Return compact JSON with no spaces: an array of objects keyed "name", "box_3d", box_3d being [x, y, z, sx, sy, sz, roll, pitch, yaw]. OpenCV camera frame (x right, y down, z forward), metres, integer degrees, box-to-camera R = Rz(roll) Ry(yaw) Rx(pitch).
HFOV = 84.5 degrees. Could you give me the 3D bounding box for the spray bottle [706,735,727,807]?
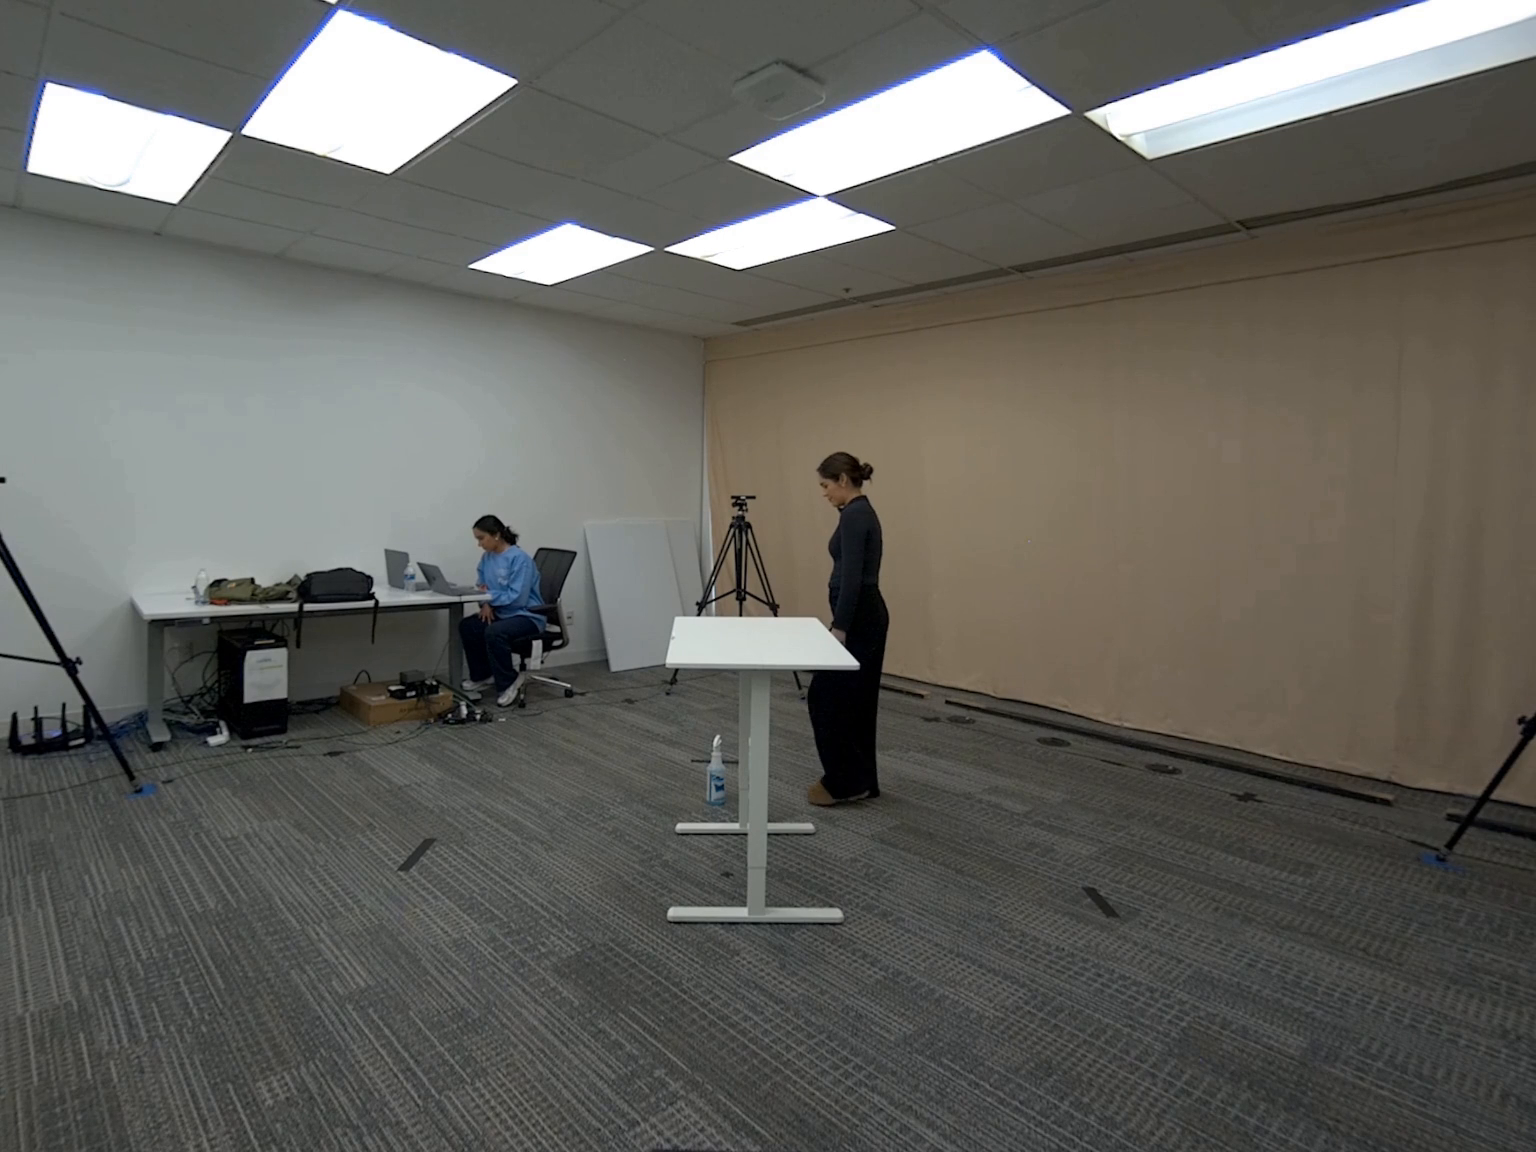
[{"name":"spray bottle","box_3d":[-0.245,0.890,3.850,0.089,0.297,0.088,3,2,32]}]
